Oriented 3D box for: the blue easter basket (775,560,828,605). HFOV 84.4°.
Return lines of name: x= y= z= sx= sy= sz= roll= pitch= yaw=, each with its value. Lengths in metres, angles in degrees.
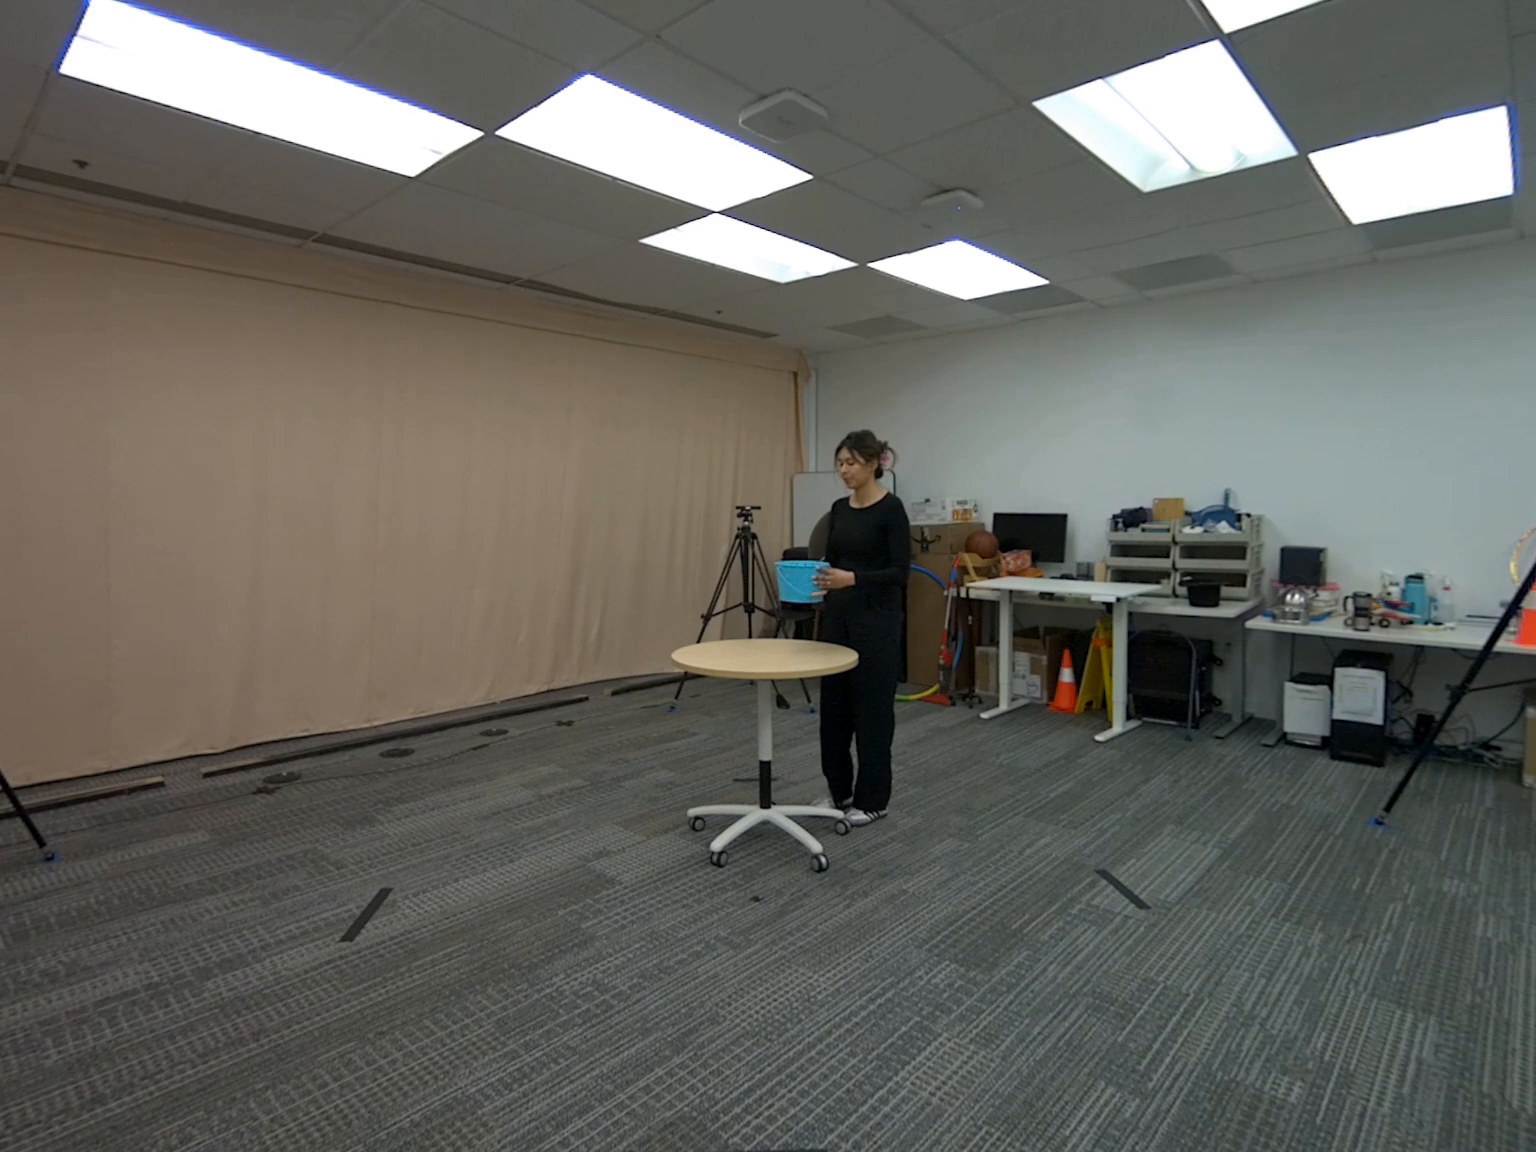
blue easter basket: x=0.144 y=0.026 z=3.519 sx=0.243 sy=0.155 sz=0.244 roll=0 pitch=3 yaw=-2
